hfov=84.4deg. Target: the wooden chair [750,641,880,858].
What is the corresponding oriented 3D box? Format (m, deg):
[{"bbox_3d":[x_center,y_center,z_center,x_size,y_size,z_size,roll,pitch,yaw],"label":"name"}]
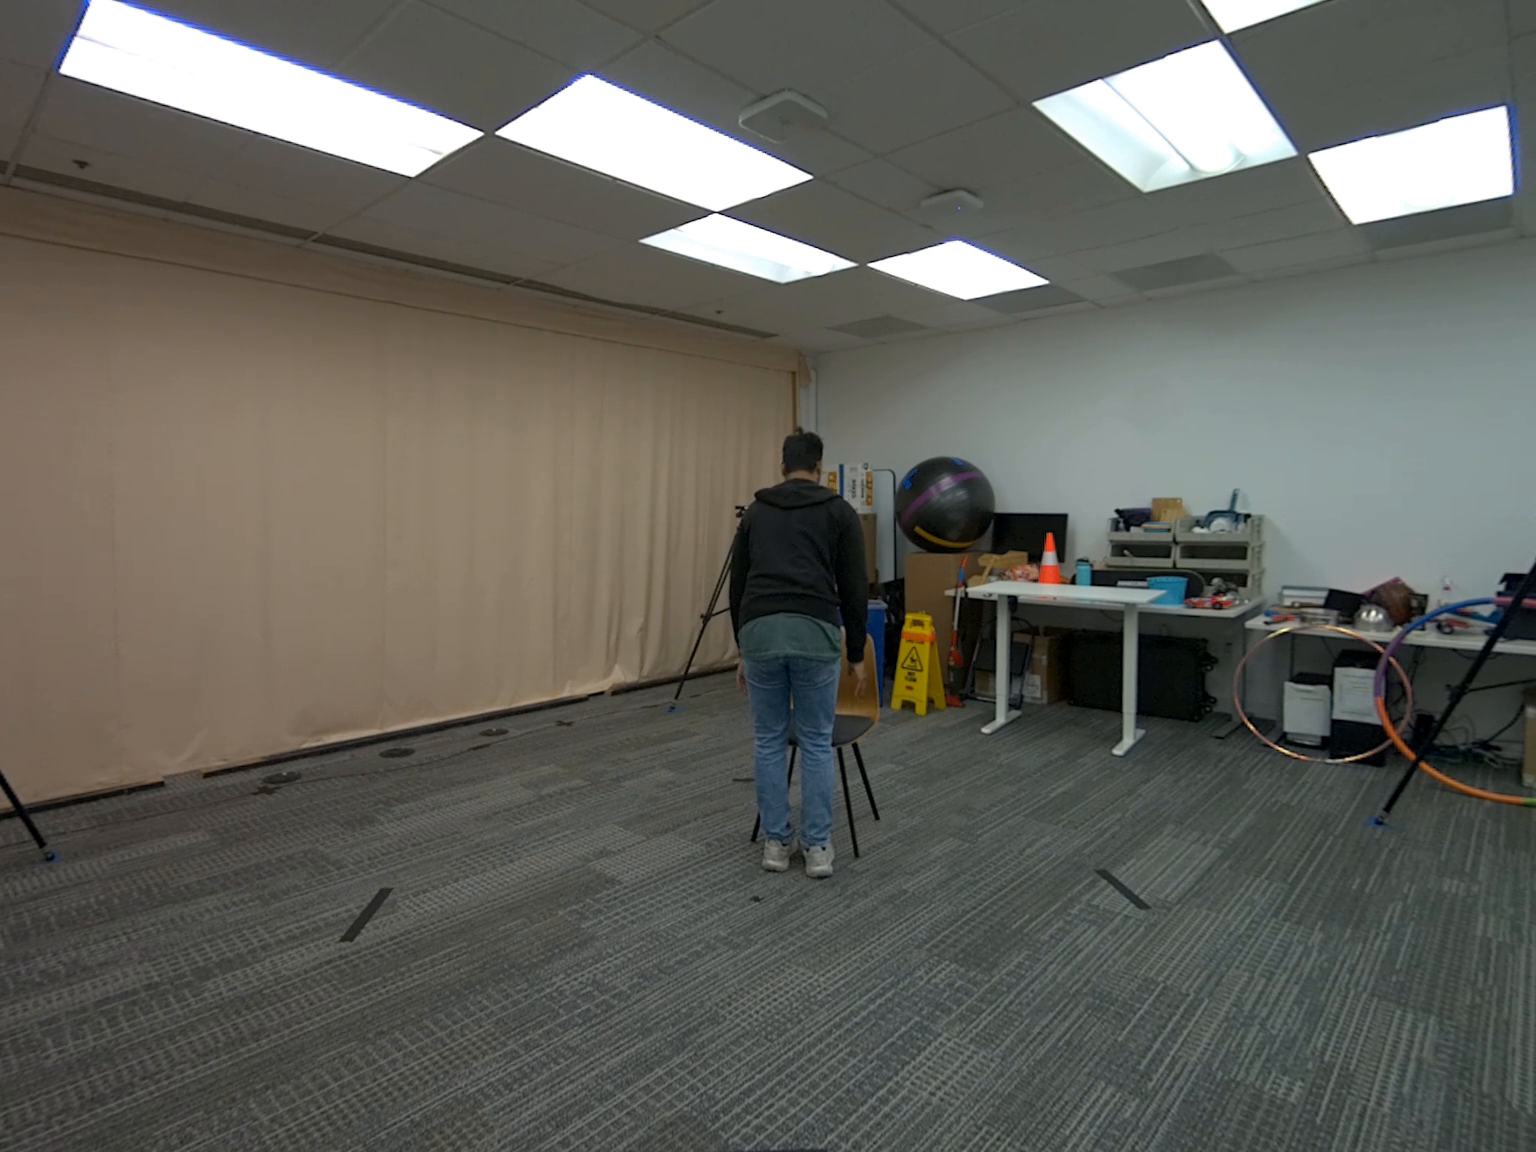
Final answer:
[{"bbox_3d":[0.212,0.665,3.582,0.489,0.878,0.511,1,-1,20],"label":"wooden chair"}]
